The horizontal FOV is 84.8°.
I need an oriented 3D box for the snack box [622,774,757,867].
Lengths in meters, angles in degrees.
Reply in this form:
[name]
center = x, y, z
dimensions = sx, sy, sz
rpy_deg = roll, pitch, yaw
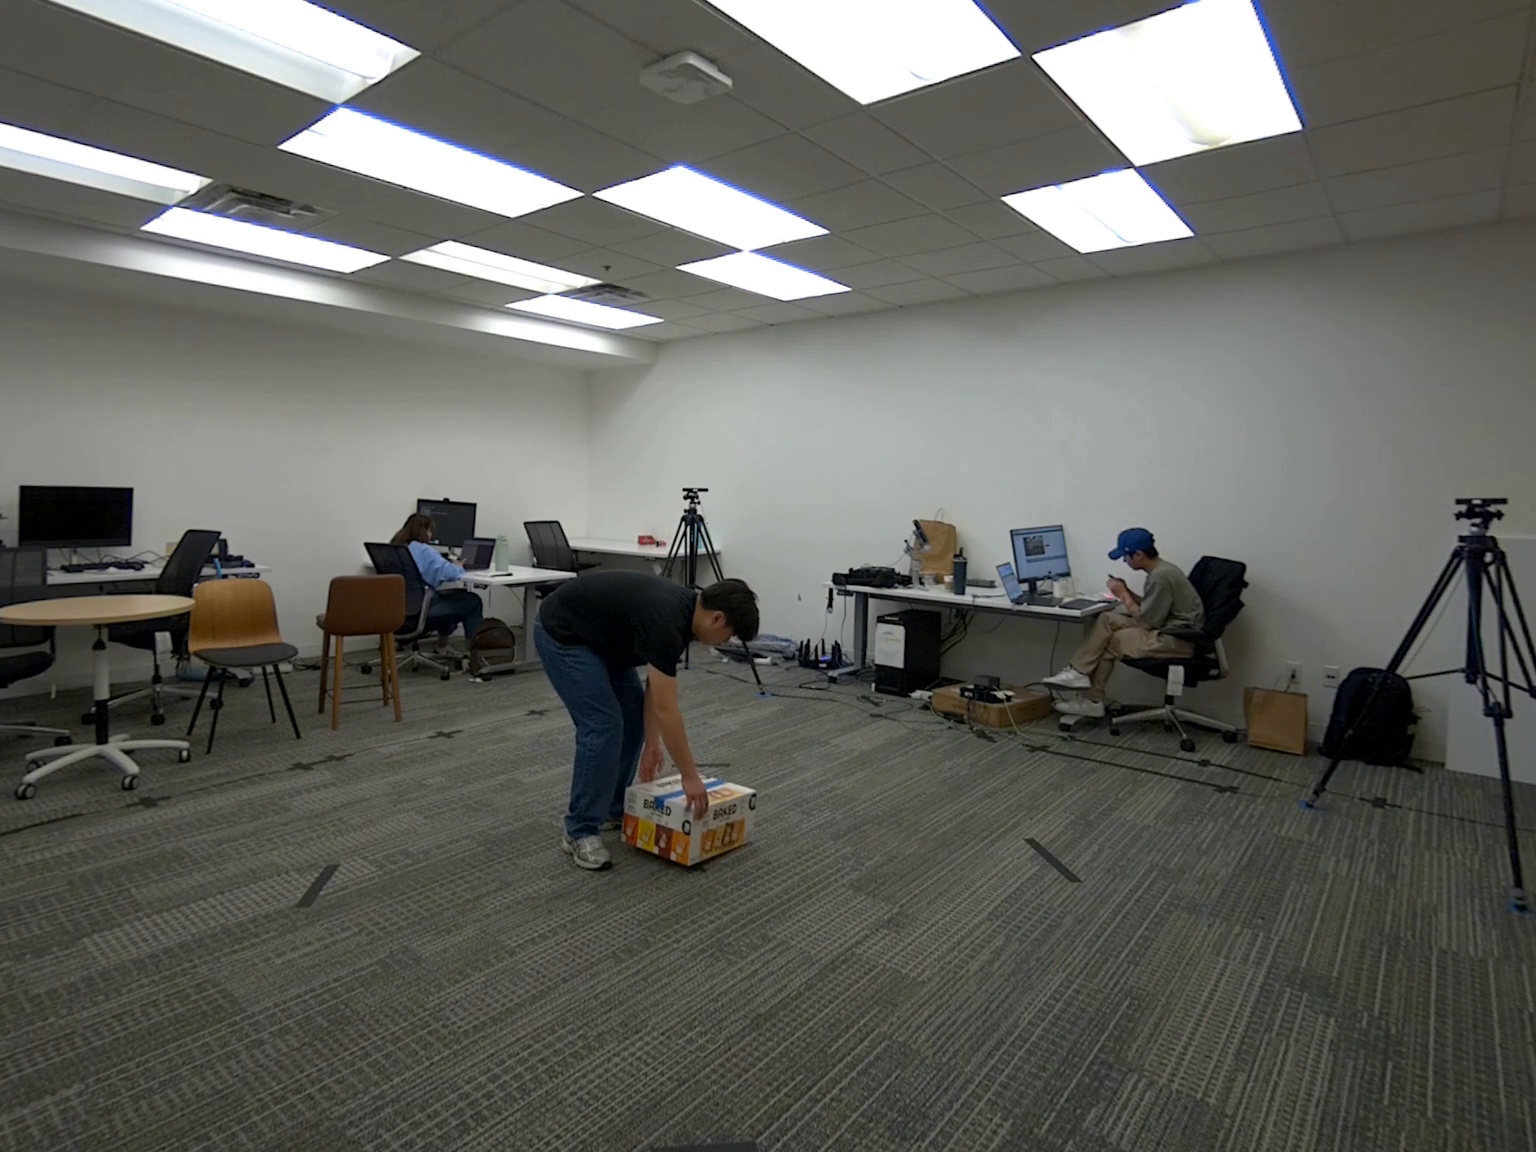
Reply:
[snack box]
center = -0.312, 0.929, 3.306
dimensions = 0.352, 0.206, 0.392
rpy_deg = 5, 1, 36
